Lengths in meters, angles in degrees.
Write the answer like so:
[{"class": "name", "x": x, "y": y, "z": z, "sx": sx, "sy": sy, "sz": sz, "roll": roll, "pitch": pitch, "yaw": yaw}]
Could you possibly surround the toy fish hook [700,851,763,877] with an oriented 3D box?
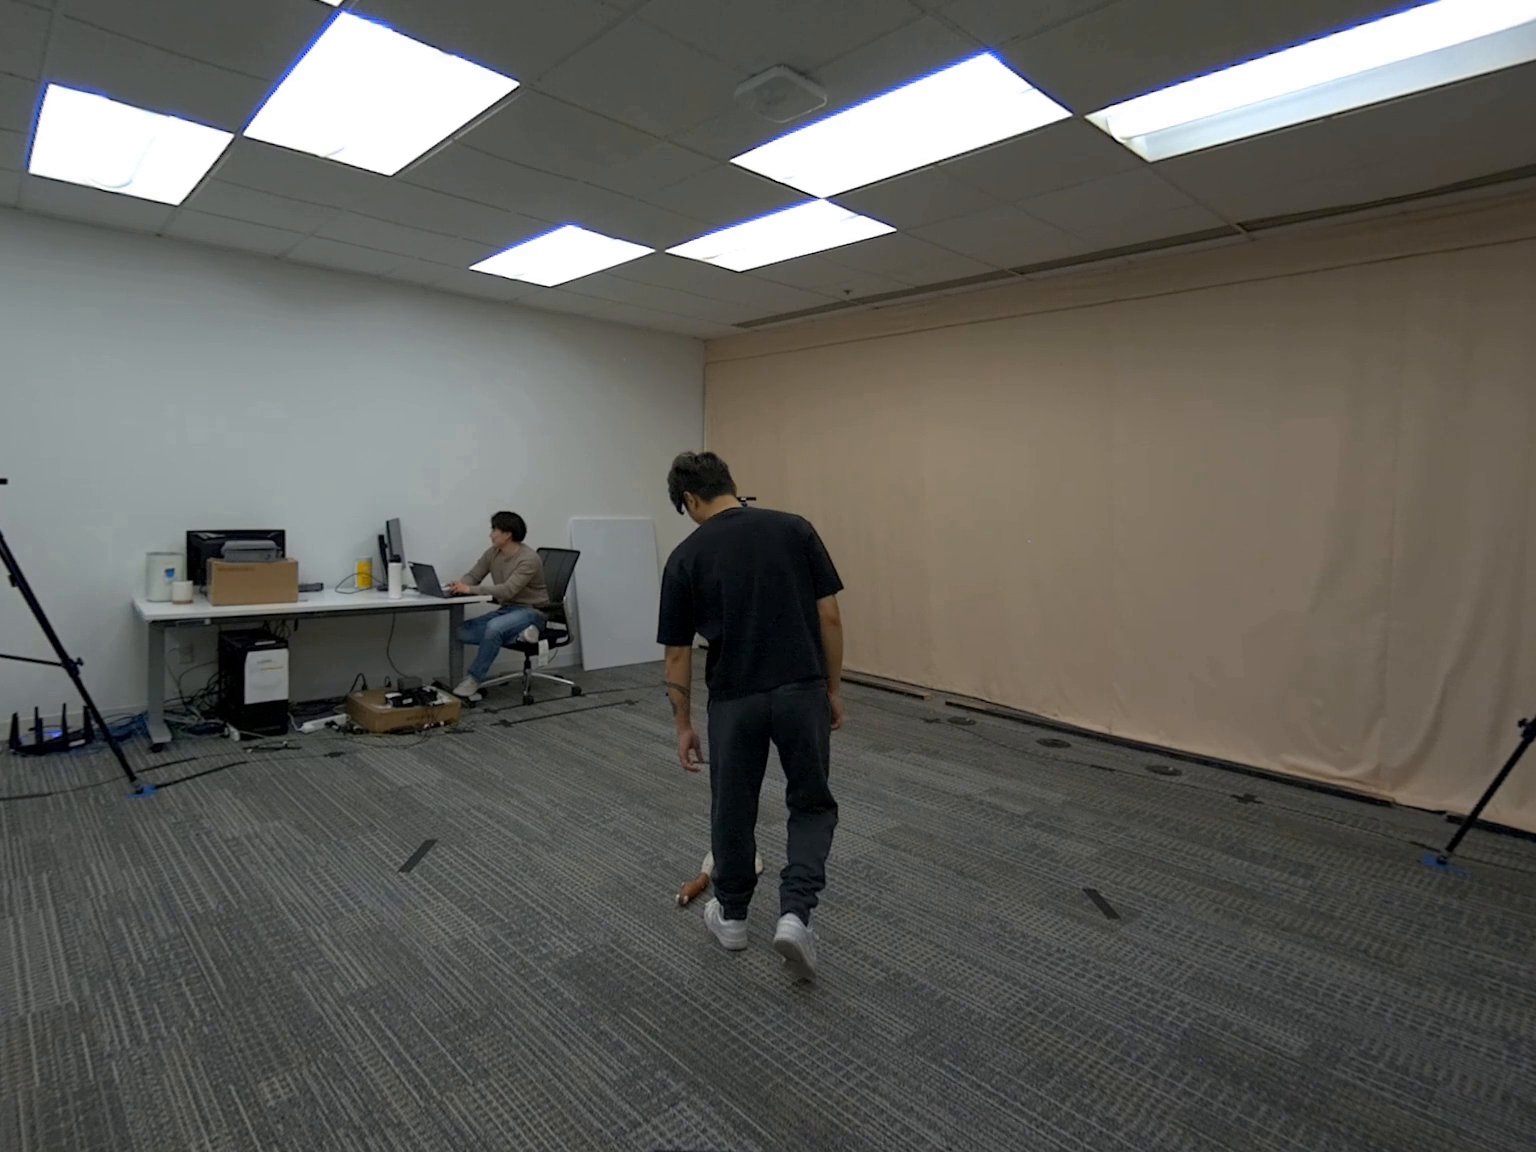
[{"class": "toy fish hook", "x": -0.172, "y": 1.090, "z": 3.059, "sx": 0.228, "sy": 0.048, "sz": 0.500, "roll": 1, "pitch": 5, "yaw": 20}]
